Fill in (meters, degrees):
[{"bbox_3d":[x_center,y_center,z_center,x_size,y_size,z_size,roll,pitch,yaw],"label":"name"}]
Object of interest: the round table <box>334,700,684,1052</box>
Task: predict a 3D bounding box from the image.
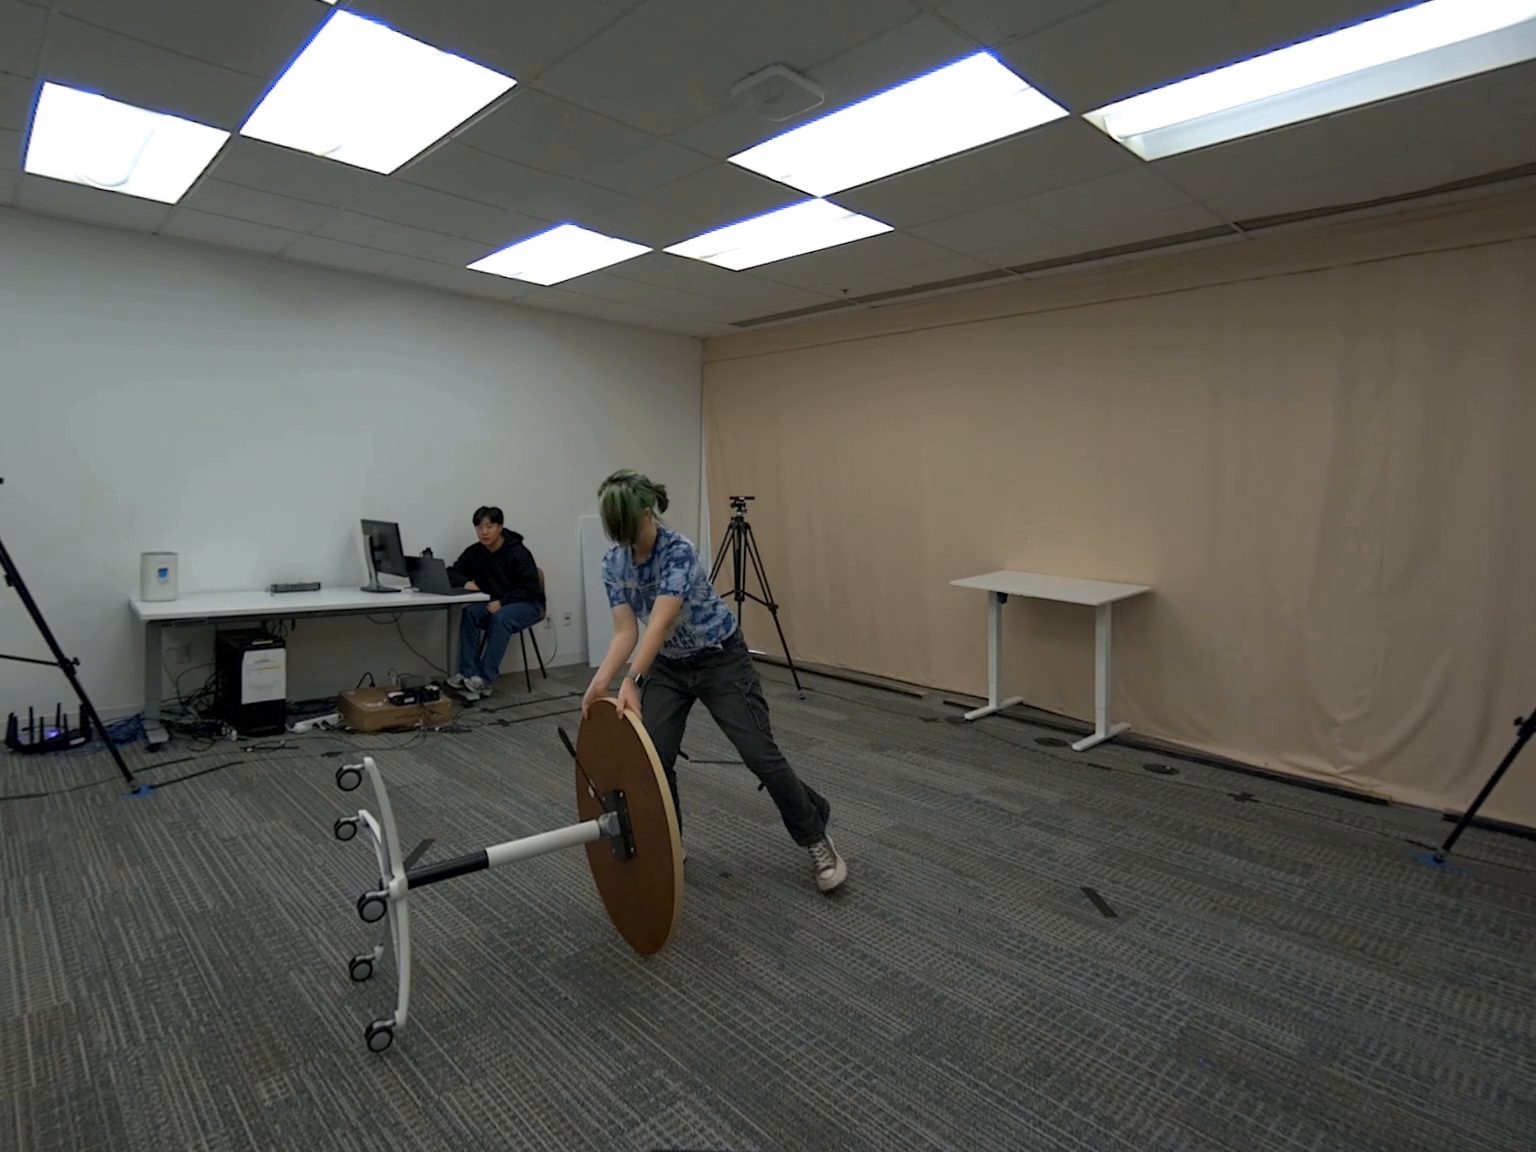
[{"bbox_3d":[-0.778,0.809,2.412,0.779,0.760,0.782,-7,8,-31],"label":"round table"}]
